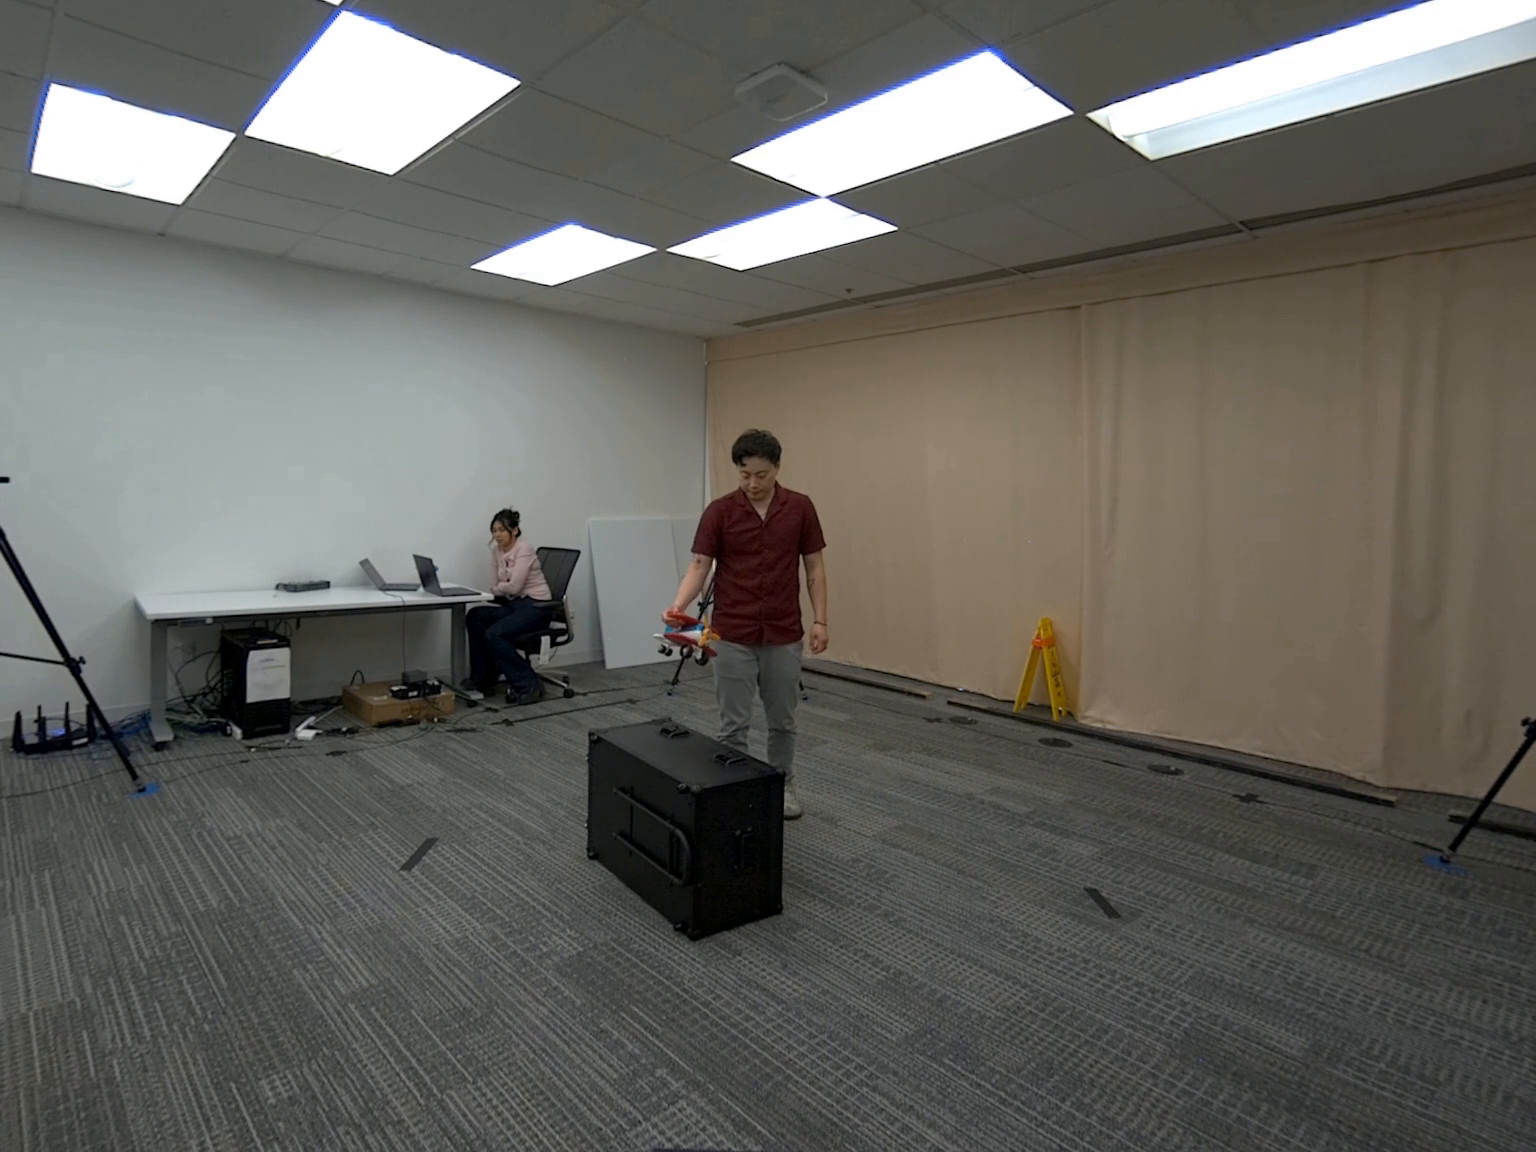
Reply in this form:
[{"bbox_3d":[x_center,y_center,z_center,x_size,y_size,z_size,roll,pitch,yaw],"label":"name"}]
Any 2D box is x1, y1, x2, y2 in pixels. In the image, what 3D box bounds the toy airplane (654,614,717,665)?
[{"bbox_3d":[-0.336,0.235,3.244,0.264,0.157,0.245,15,-13,21],"label":"toy airplane"}]
